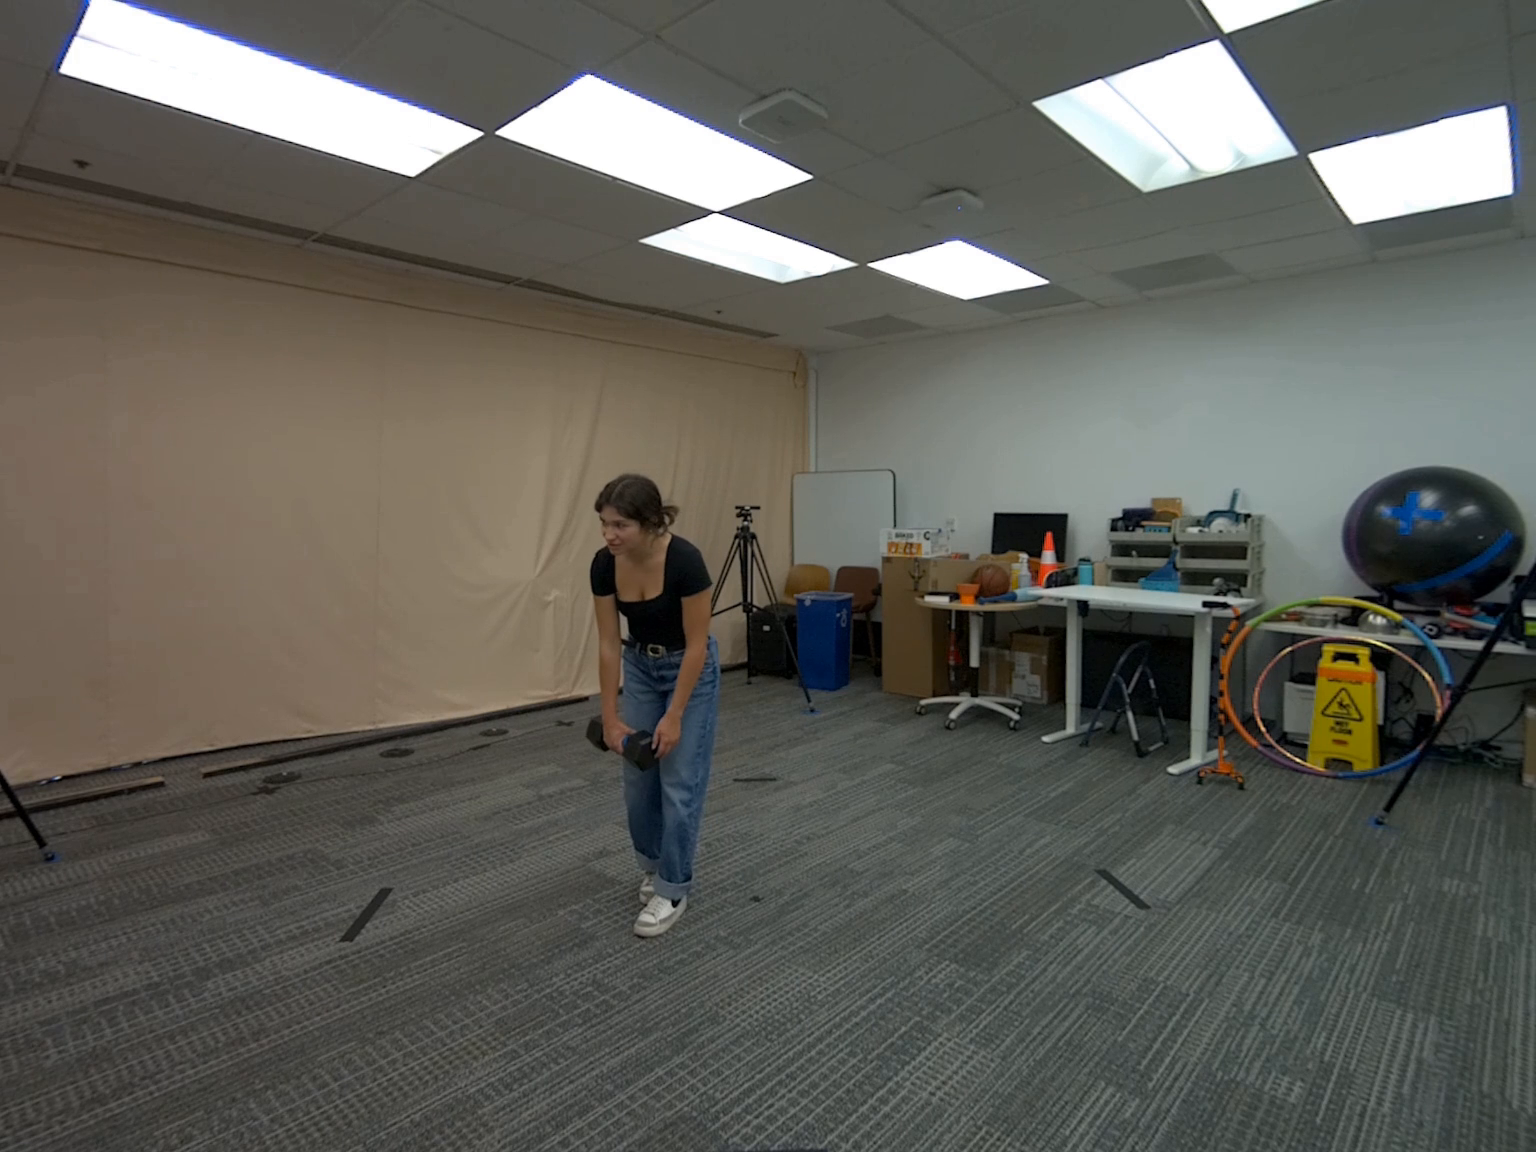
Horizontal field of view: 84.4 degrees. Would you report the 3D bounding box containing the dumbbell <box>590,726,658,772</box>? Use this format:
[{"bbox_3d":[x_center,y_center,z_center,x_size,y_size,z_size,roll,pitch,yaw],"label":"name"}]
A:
[{"bbox_3d":[-0.474,0.550,2.797,0.304,0.119,0.108,10,50,44],"label":"dumbbell"}]
